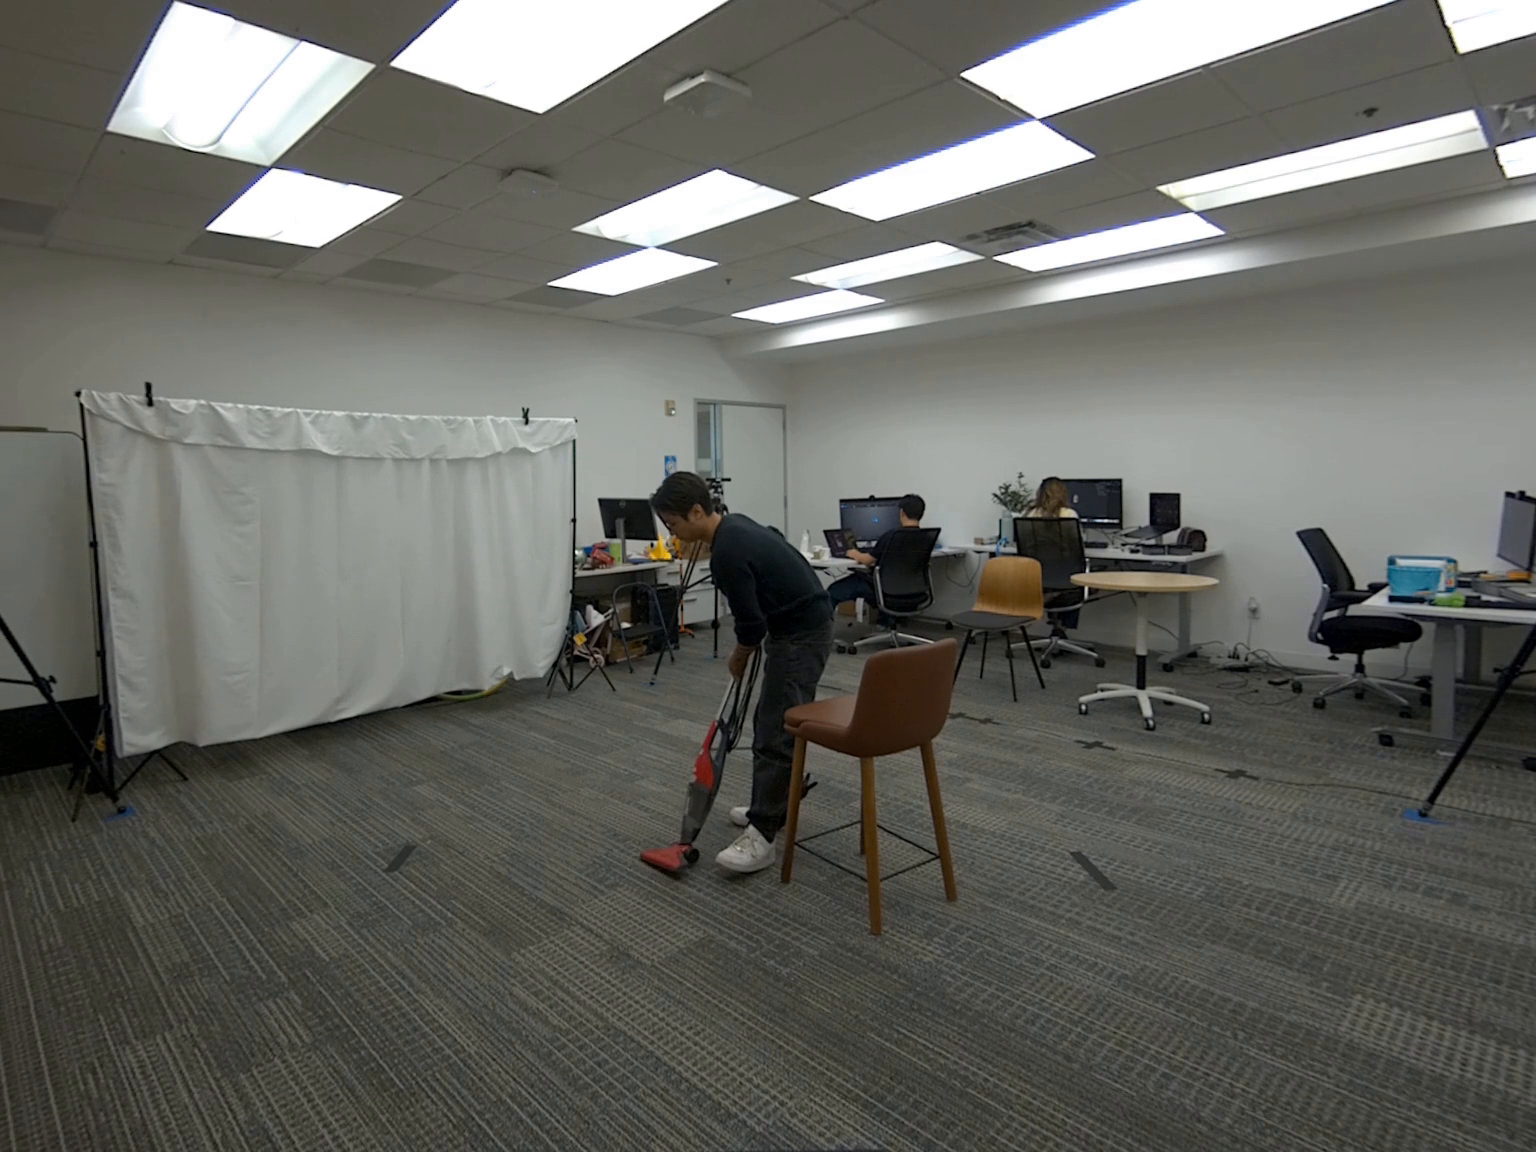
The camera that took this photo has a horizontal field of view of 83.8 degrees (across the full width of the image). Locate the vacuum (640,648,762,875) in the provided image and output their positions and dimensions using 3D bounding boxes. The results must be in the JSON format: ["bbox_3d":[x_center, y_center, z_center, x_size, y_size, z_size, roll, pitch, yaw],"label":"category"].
[{"bbox_3d":[-0.173,0.586,3.290,0.259,1.060,0.139,-6,-36,47],"label":"vacuum"}]
